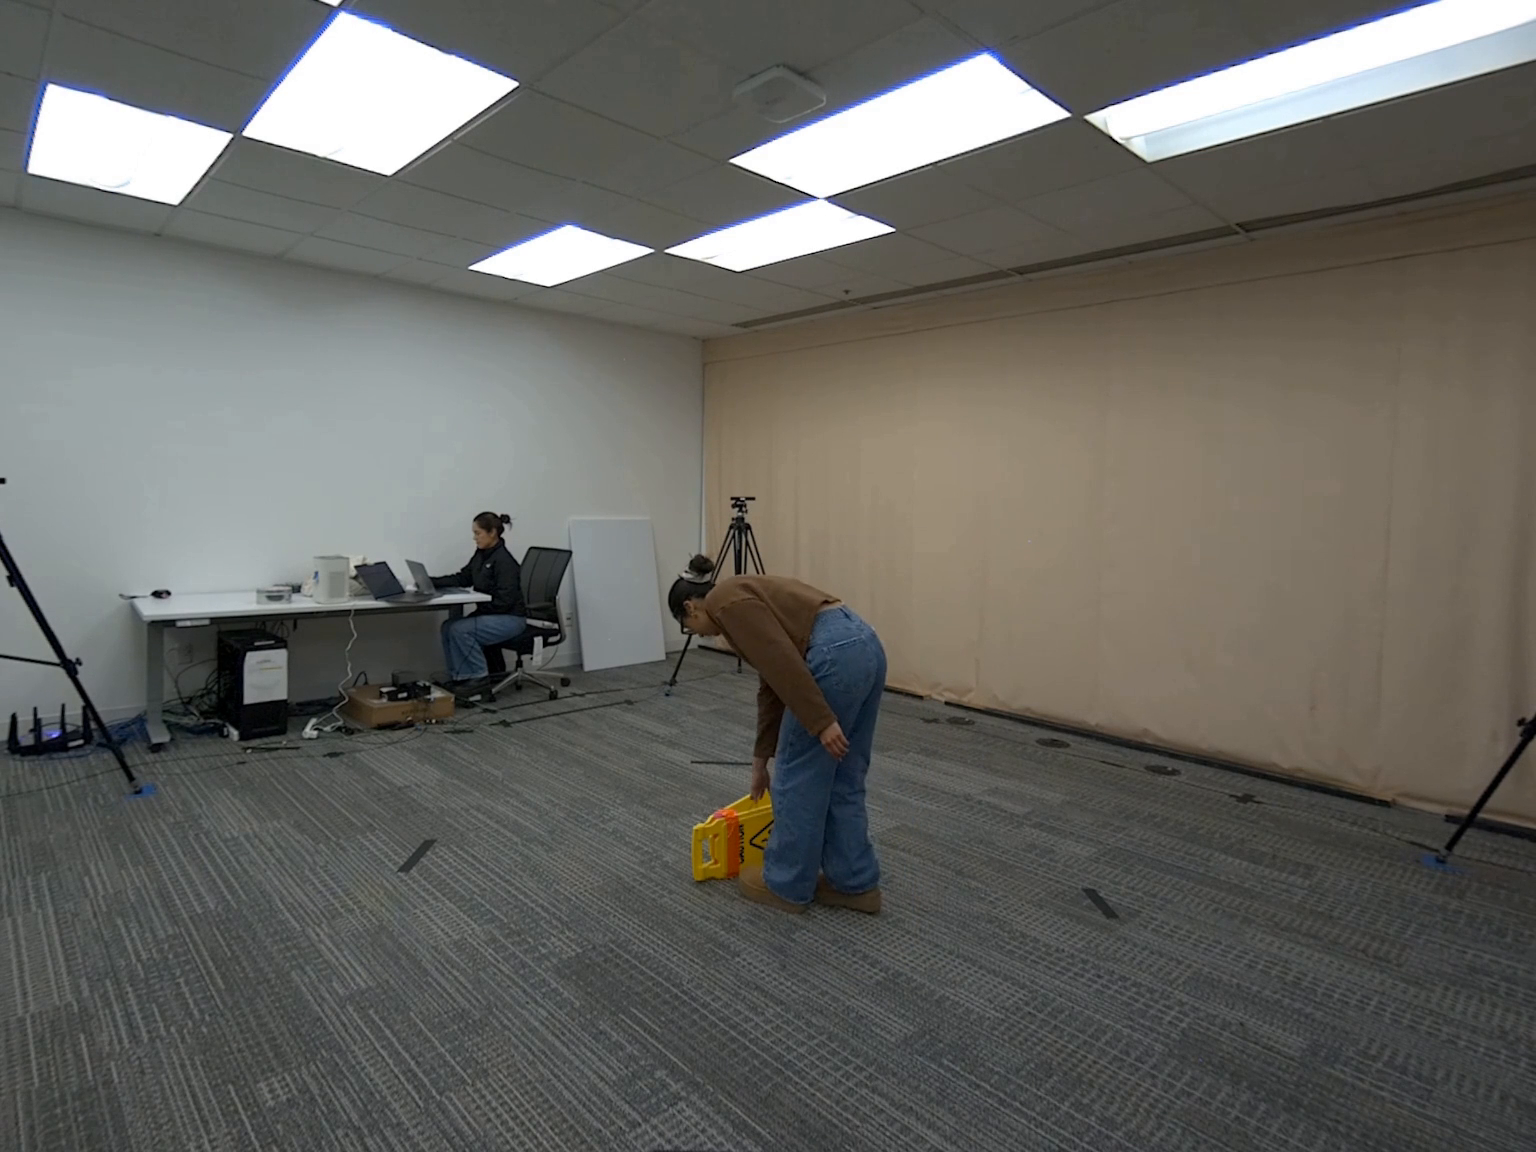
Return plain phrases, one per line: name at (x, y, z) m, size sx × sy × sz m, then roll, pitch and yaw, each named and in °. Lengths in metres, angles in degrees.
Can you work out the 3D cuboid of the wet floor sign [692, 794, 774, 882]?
wet floor sign at (-0.020, 0.973, 3.215) m, size 0.632 × 0.281 × 0.297 m, roll -6°, pitch 7°, yaw -38°
